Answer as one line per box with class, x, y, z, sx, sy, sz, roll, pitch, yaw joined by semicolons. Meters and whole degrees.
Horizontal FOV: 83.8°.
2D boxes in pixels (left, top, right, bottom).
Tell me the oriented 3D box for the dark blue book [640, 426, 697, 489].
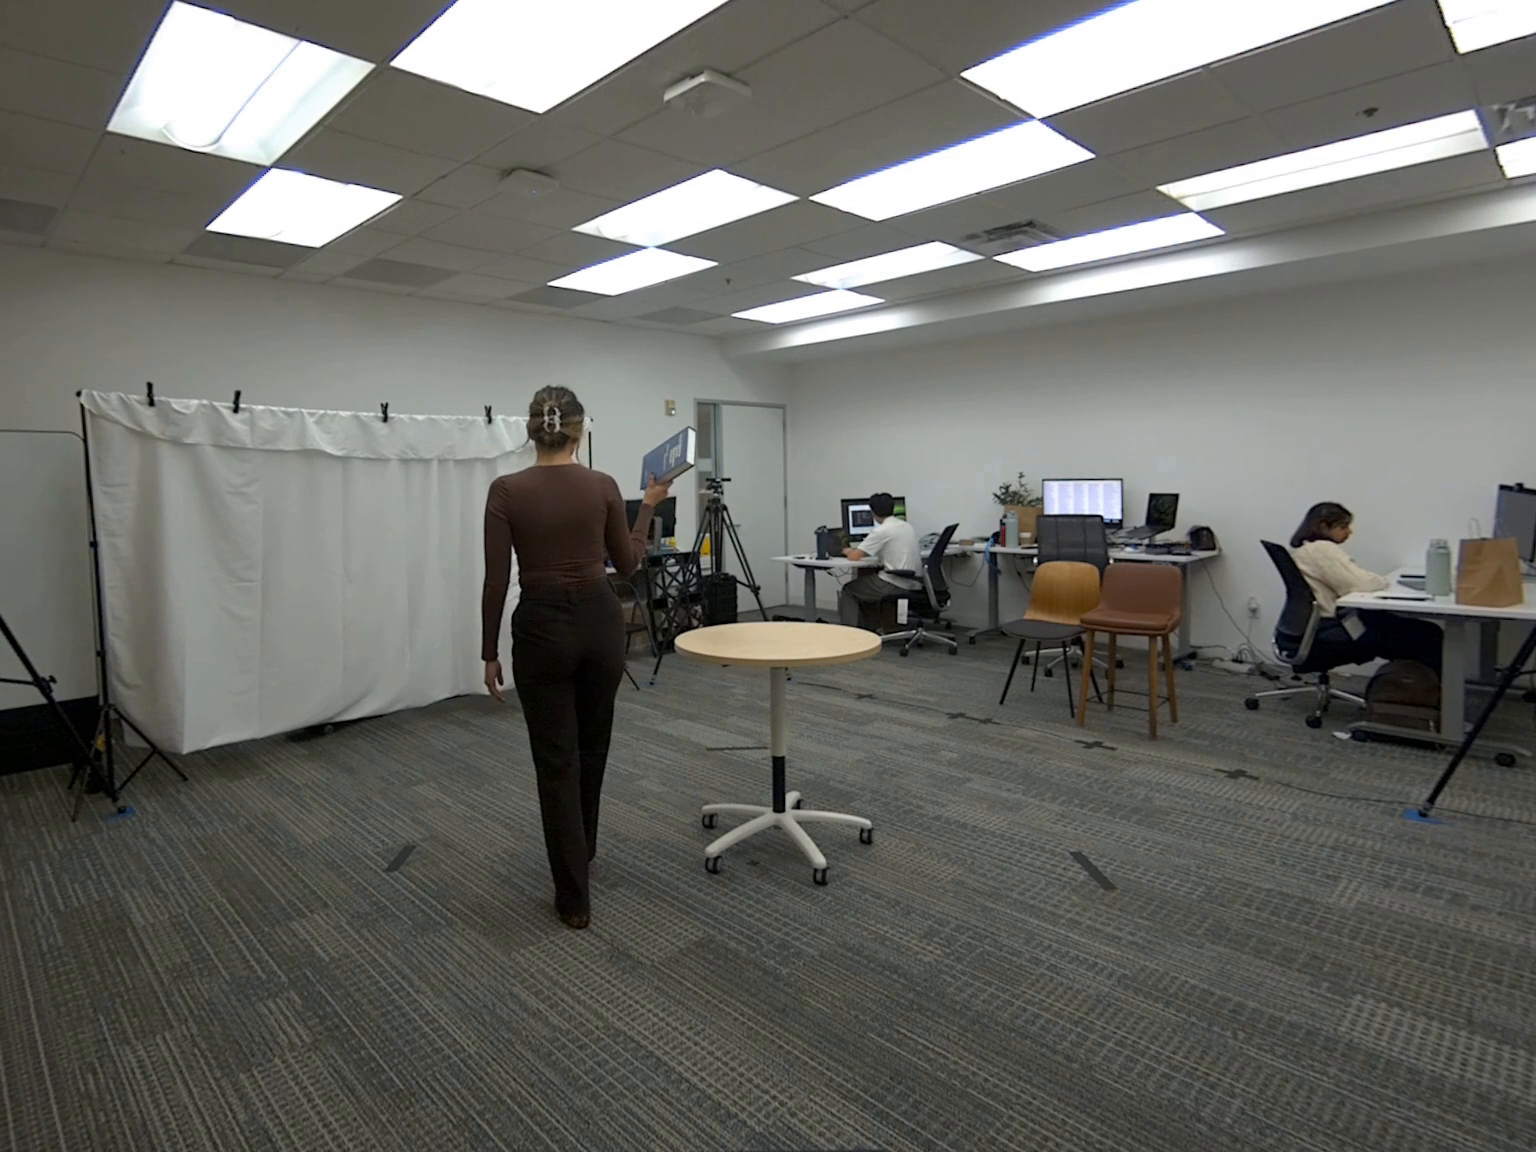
dark blue book;-0.356;-0.411;3.065;0.248;0.167;0.043;-27;-42;34
